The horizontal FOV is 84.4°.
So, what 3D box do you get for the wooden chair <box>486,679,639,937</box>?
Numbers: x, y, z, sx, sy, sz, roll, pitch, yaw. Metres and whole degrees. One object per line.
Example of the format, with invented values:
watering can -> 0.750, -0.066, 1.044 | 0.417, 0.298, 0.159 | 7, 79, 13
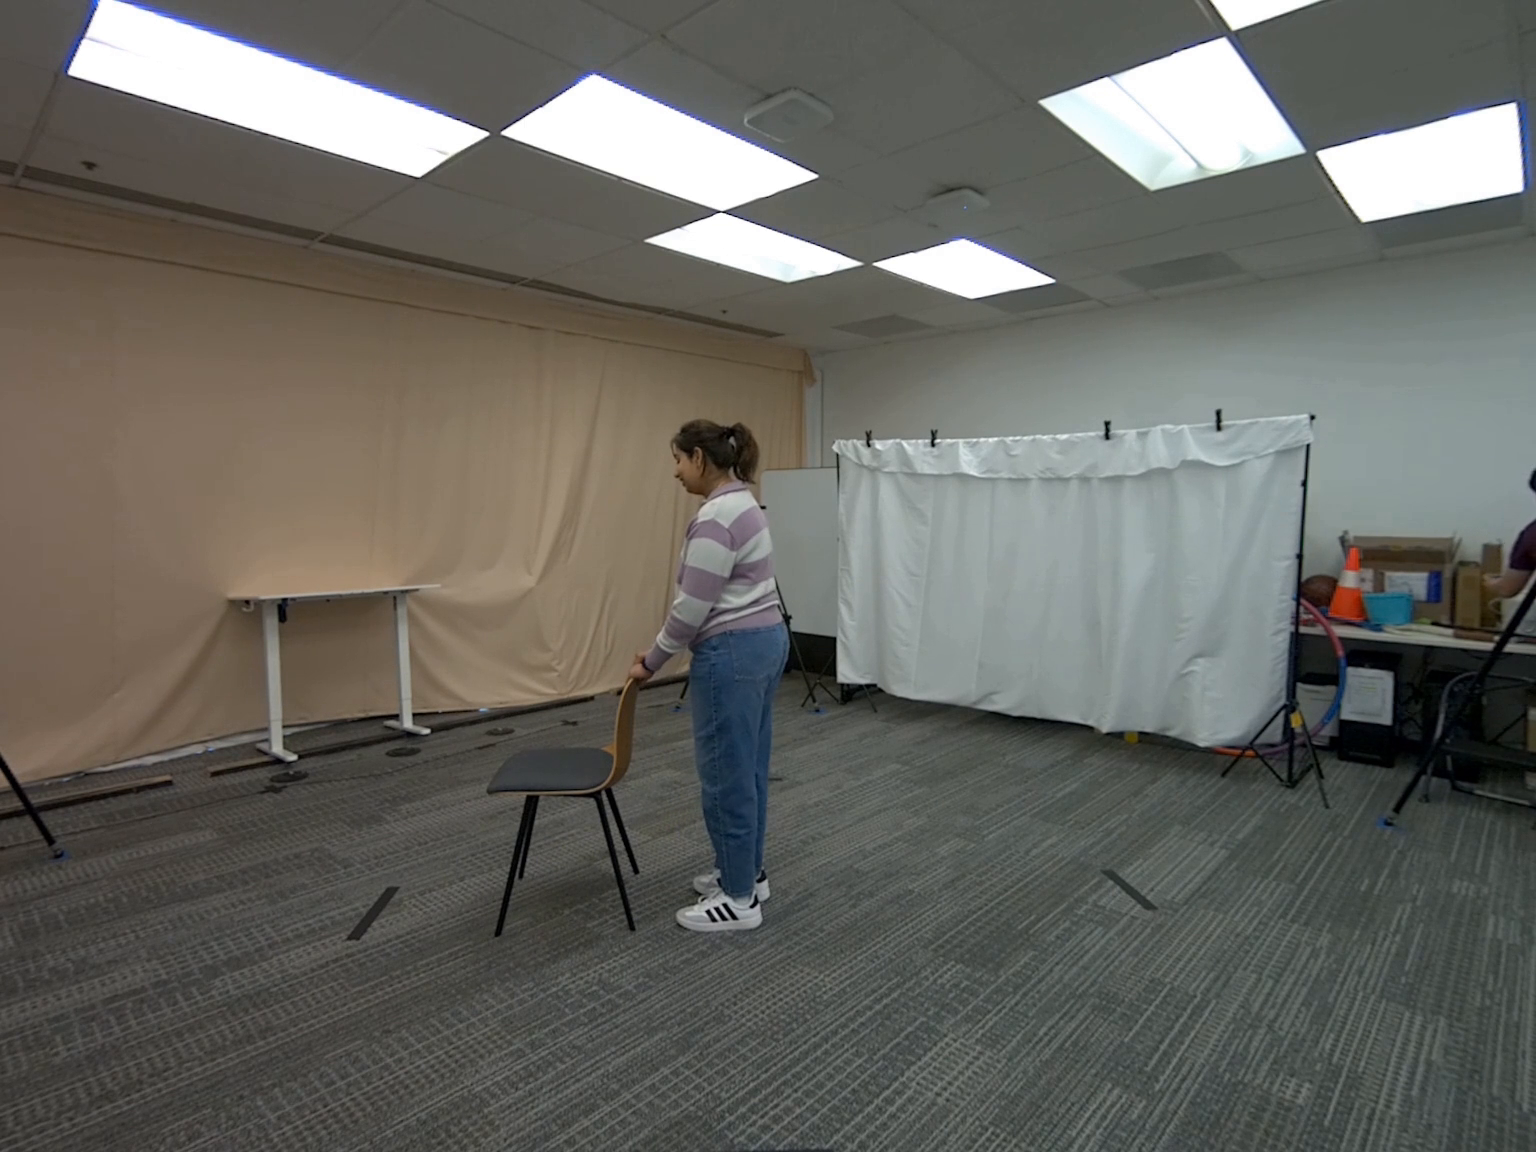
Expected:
wooden chair -> -0.701, 0.725, 2.941 | 0.521, 0.876, 0.481 | 4, 3, -5
